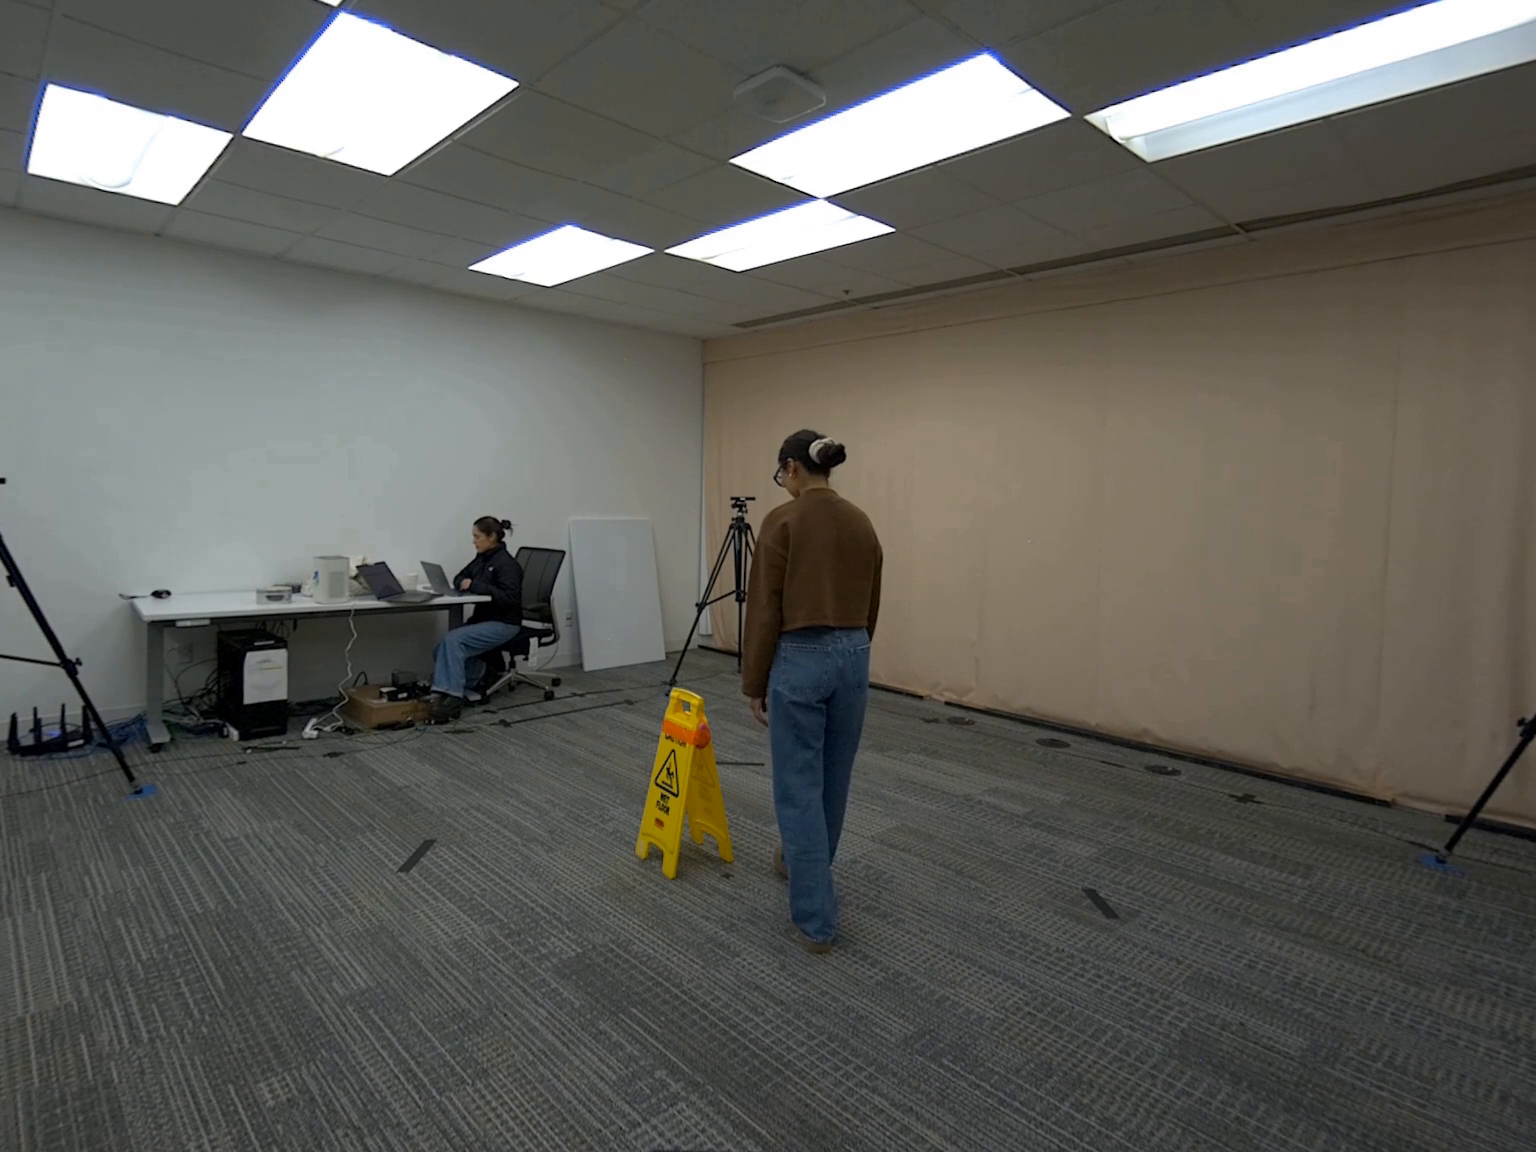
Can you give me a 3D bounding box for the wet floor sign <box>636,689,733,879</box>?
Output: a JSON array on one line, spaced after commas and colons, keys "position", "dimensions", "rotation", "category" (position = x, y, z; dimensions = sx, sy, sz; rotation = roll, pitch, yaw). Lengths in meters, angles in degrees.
[{"position": [-0.322, 0.767, 3.238], "dimensions": [0.283, 0.645, 0.289], "rotation": [-1, 4, -37], "category": "wet floor sign"}]
